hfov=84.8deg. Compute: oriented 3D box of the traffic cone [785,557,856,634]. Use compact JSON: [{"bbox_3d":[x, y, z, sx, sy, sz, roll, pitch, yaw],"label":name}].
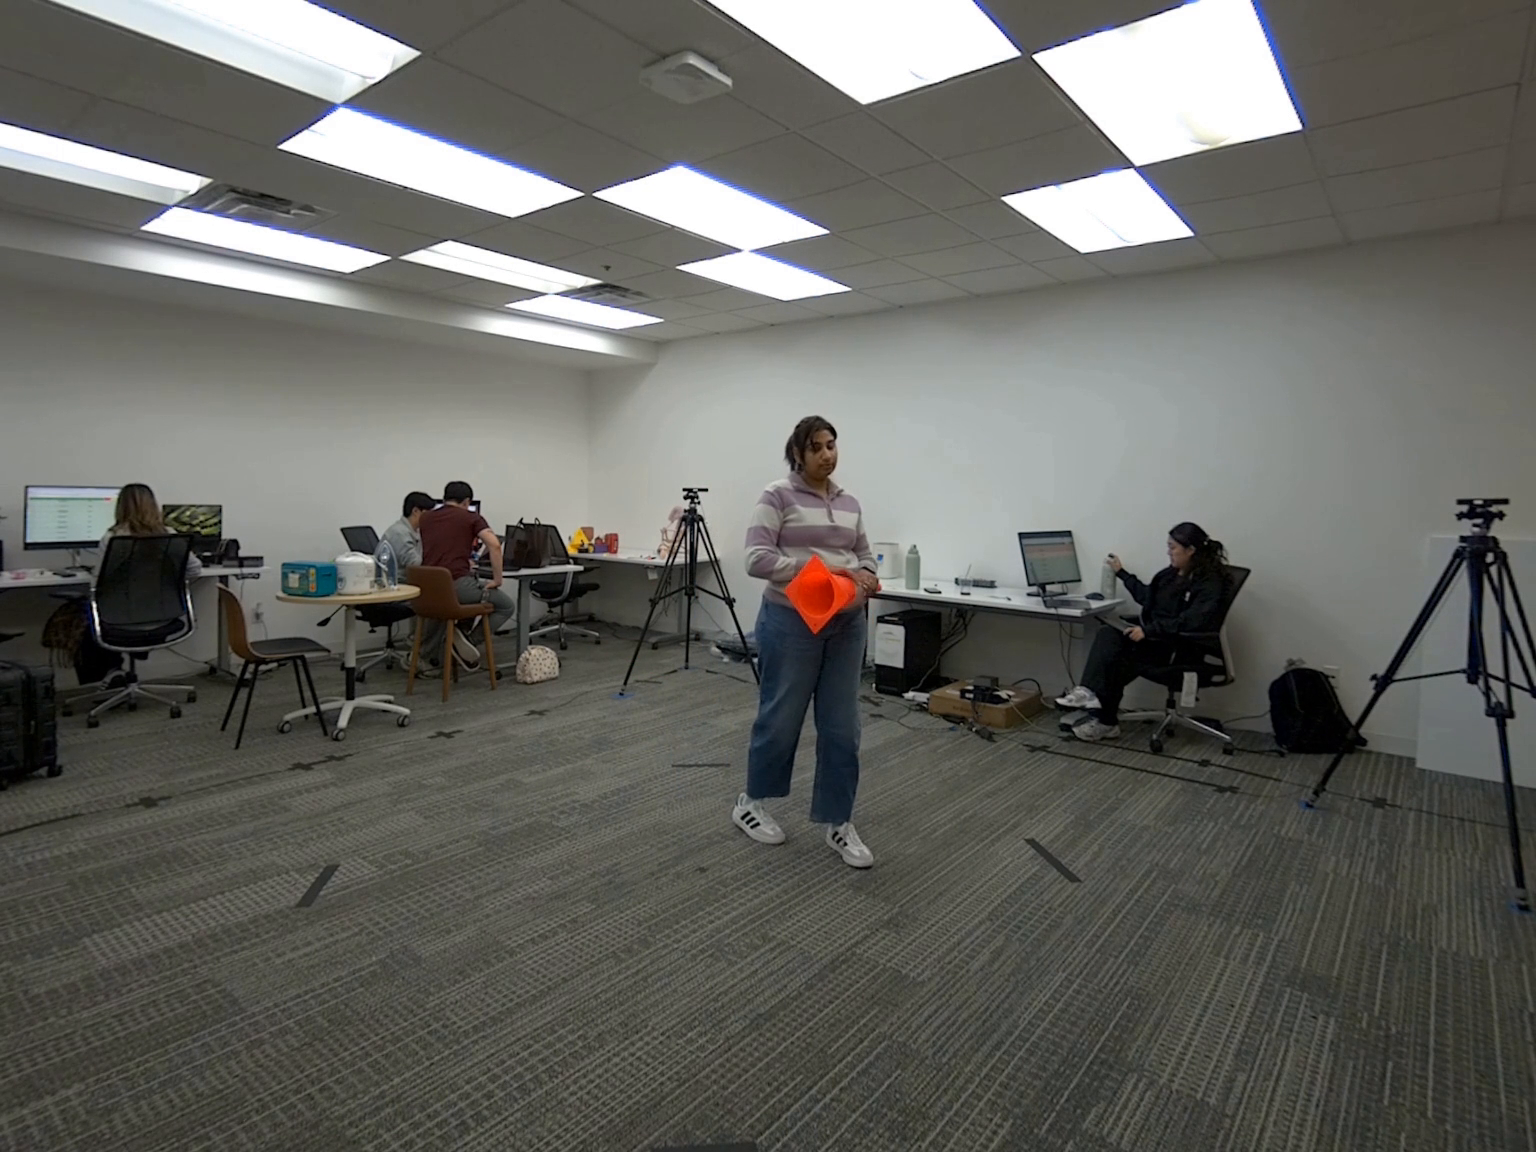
[{"bbox_3d":[0.268,0.055,3.041,0.371,0.210,0.204,-1,-41,-47],"label":"traffic cone"}]
